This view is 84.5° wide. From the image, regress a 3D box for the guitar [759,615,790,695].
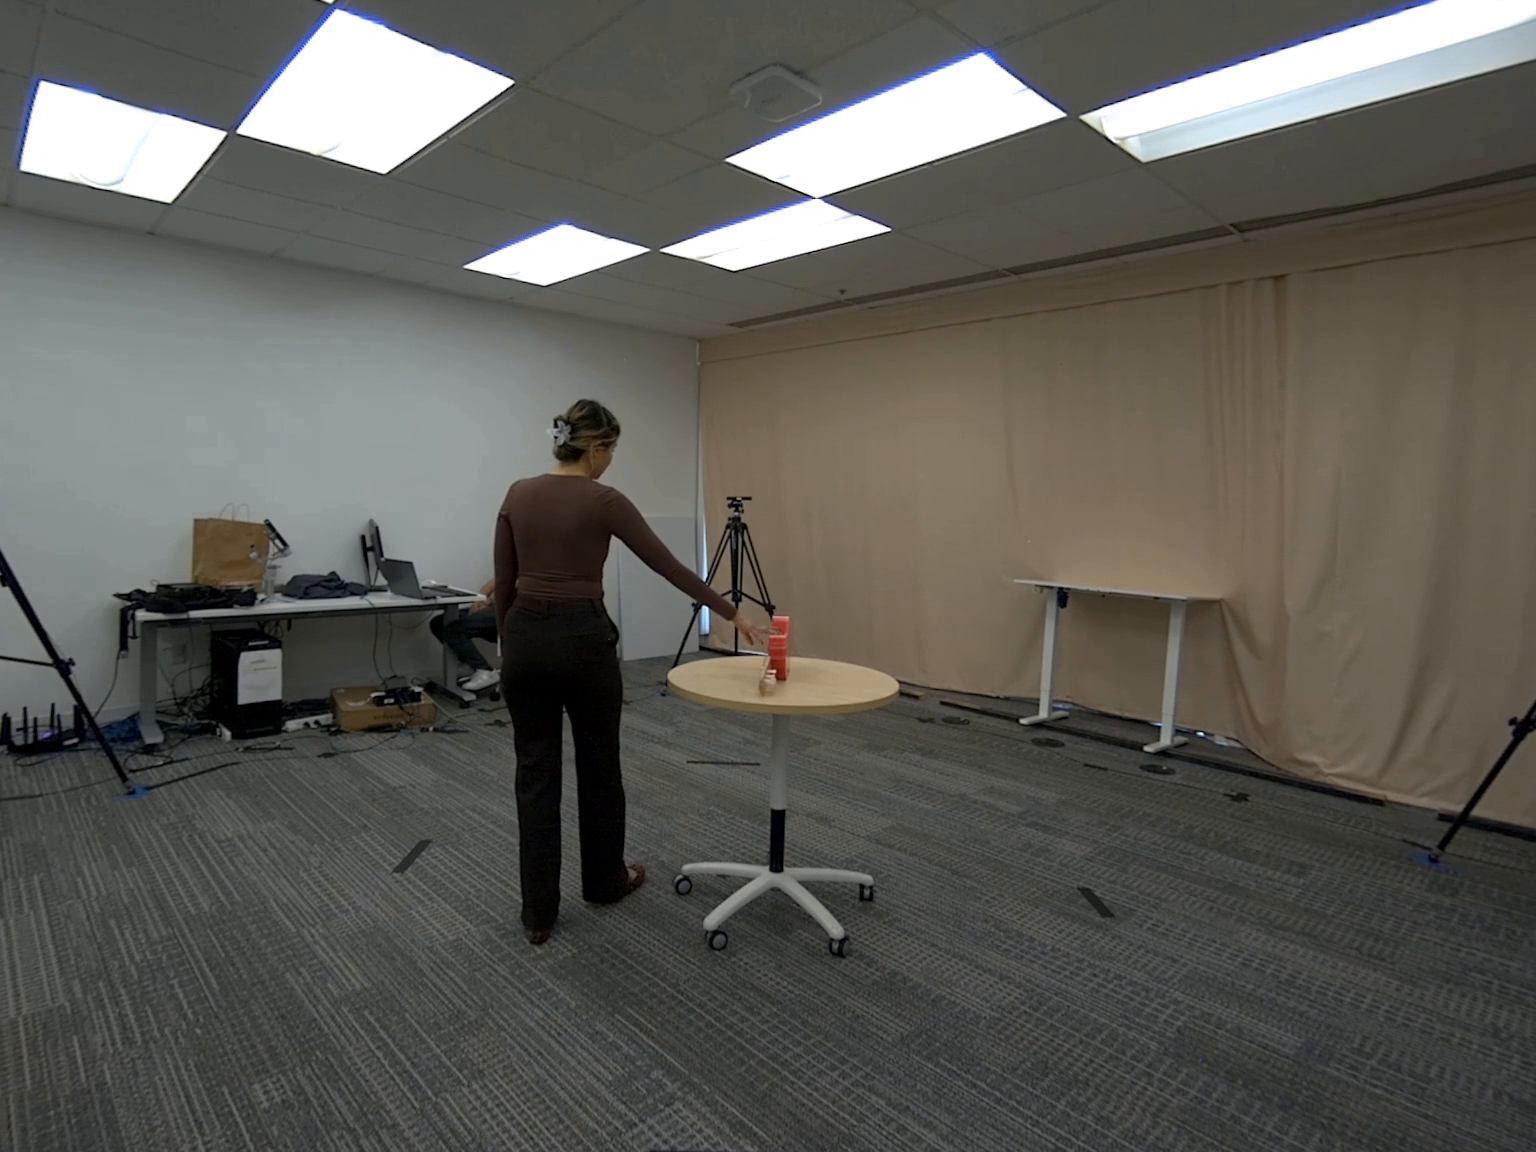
[{"bbox_3d":[0.017,0.304,2.753,0.071,0.190,0.502,3,22,6],"label":"guitar"}]
